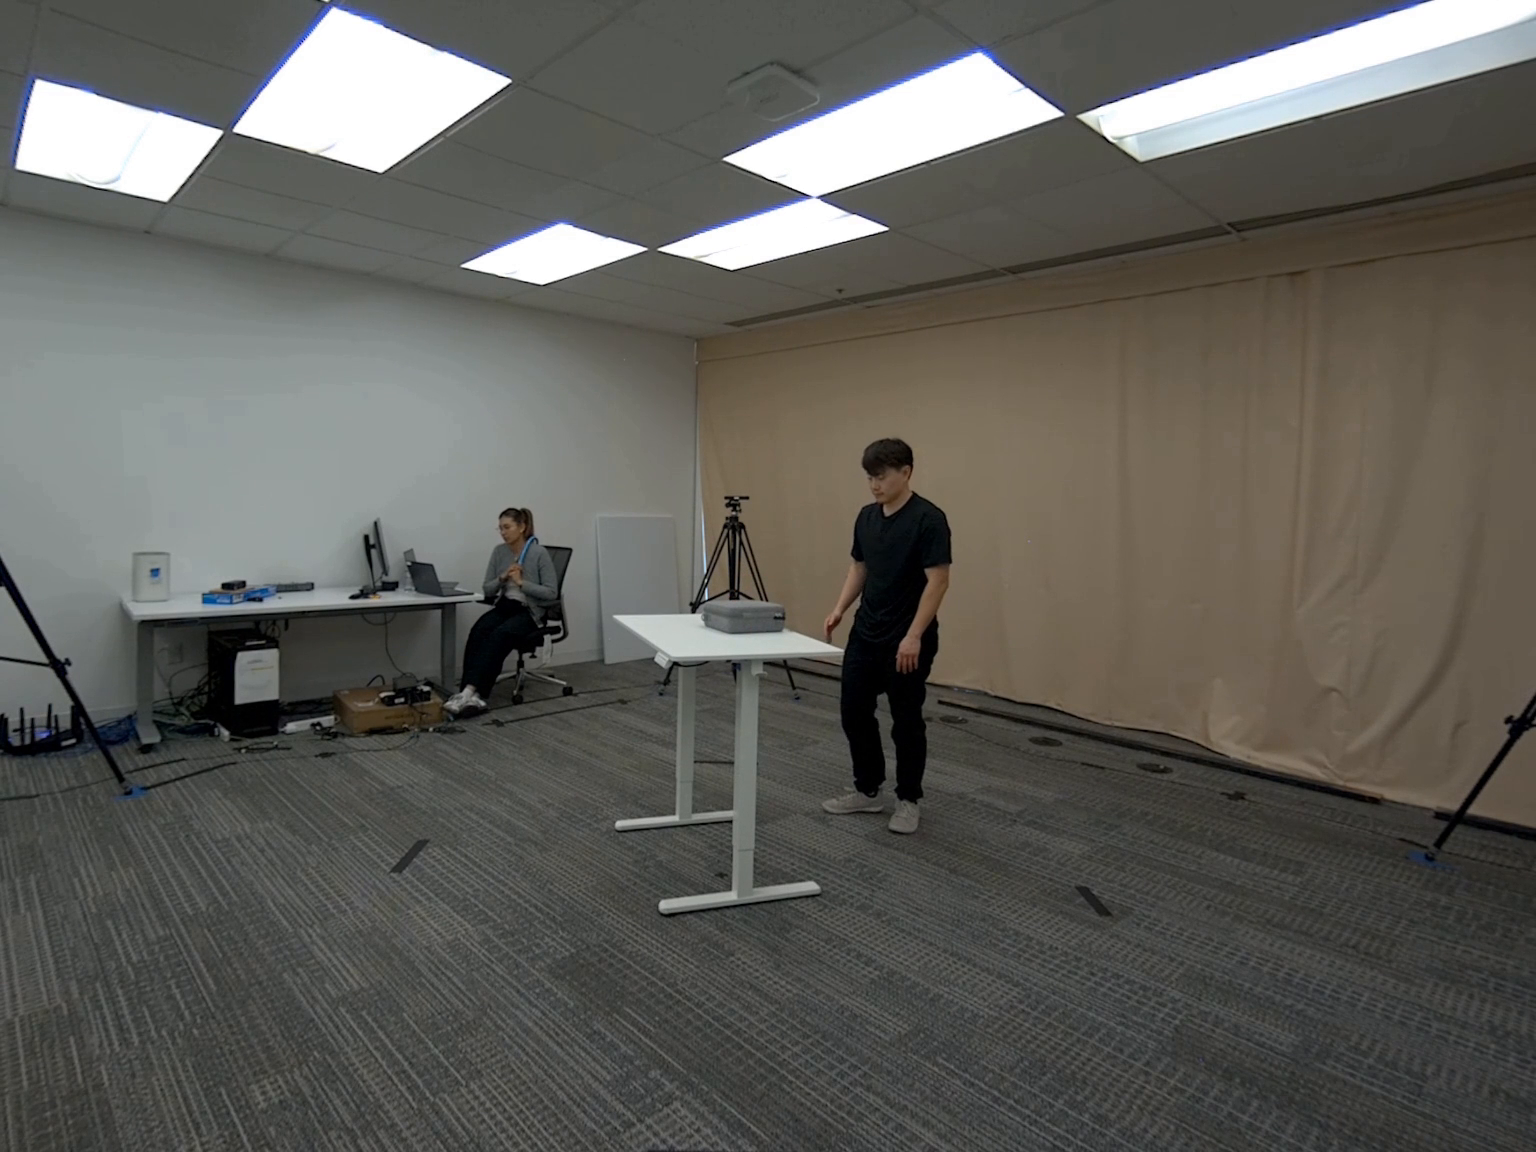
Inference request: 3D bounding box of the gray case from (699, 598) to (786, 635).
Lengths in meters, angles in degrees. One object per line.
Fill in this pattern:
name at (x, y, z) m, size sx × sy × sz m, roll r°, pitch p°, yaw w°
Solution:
gray case at (-0.107, 0.154, 3.293) m, size 0.252 × 0.104 × 0.266 m, roll -2°, pitch 5°, yaw -29°
